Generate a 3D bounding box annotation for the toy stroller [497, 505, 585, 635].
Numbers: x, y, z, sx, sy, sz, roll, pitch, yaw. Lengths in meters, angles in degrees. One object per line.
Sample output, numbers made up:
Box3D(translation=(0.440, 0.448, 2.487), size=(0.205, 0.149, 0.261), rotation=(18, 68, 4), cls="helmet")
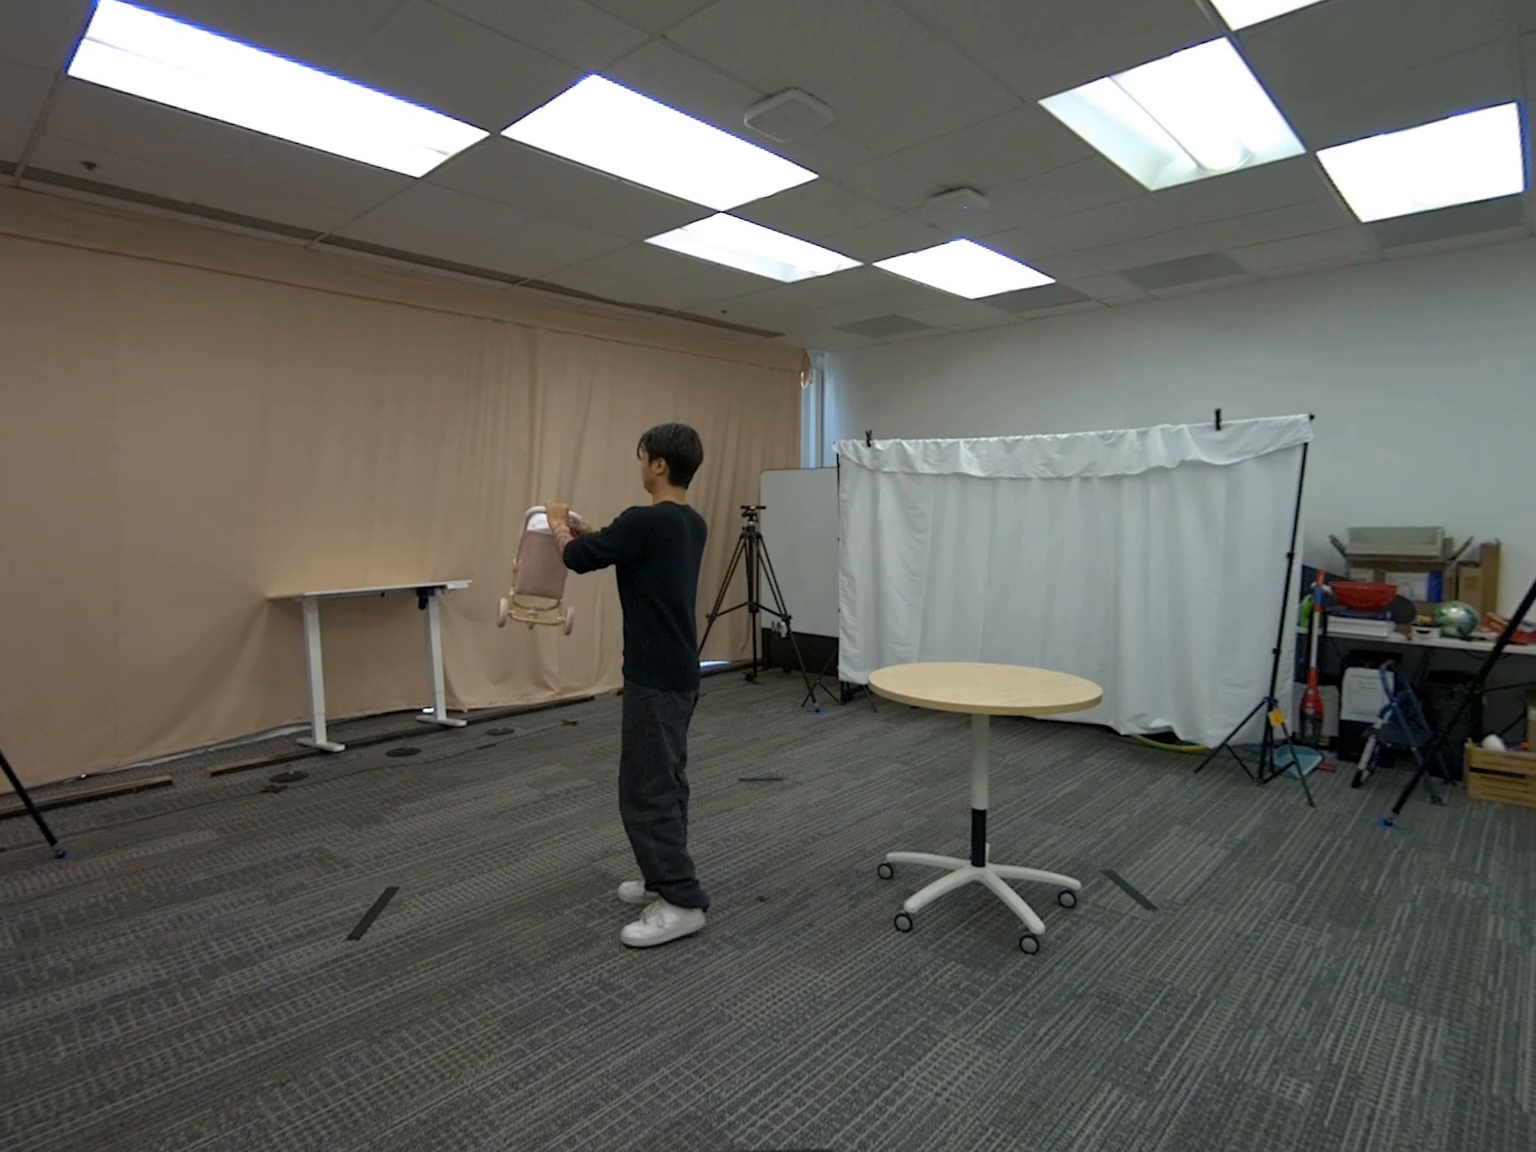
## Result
Box3D(translation=(-0.859, -0.017, 3.231), size=(0.277, 0.533, 0.348), rotation=(9, 8, -15), cls="toy stroller")
